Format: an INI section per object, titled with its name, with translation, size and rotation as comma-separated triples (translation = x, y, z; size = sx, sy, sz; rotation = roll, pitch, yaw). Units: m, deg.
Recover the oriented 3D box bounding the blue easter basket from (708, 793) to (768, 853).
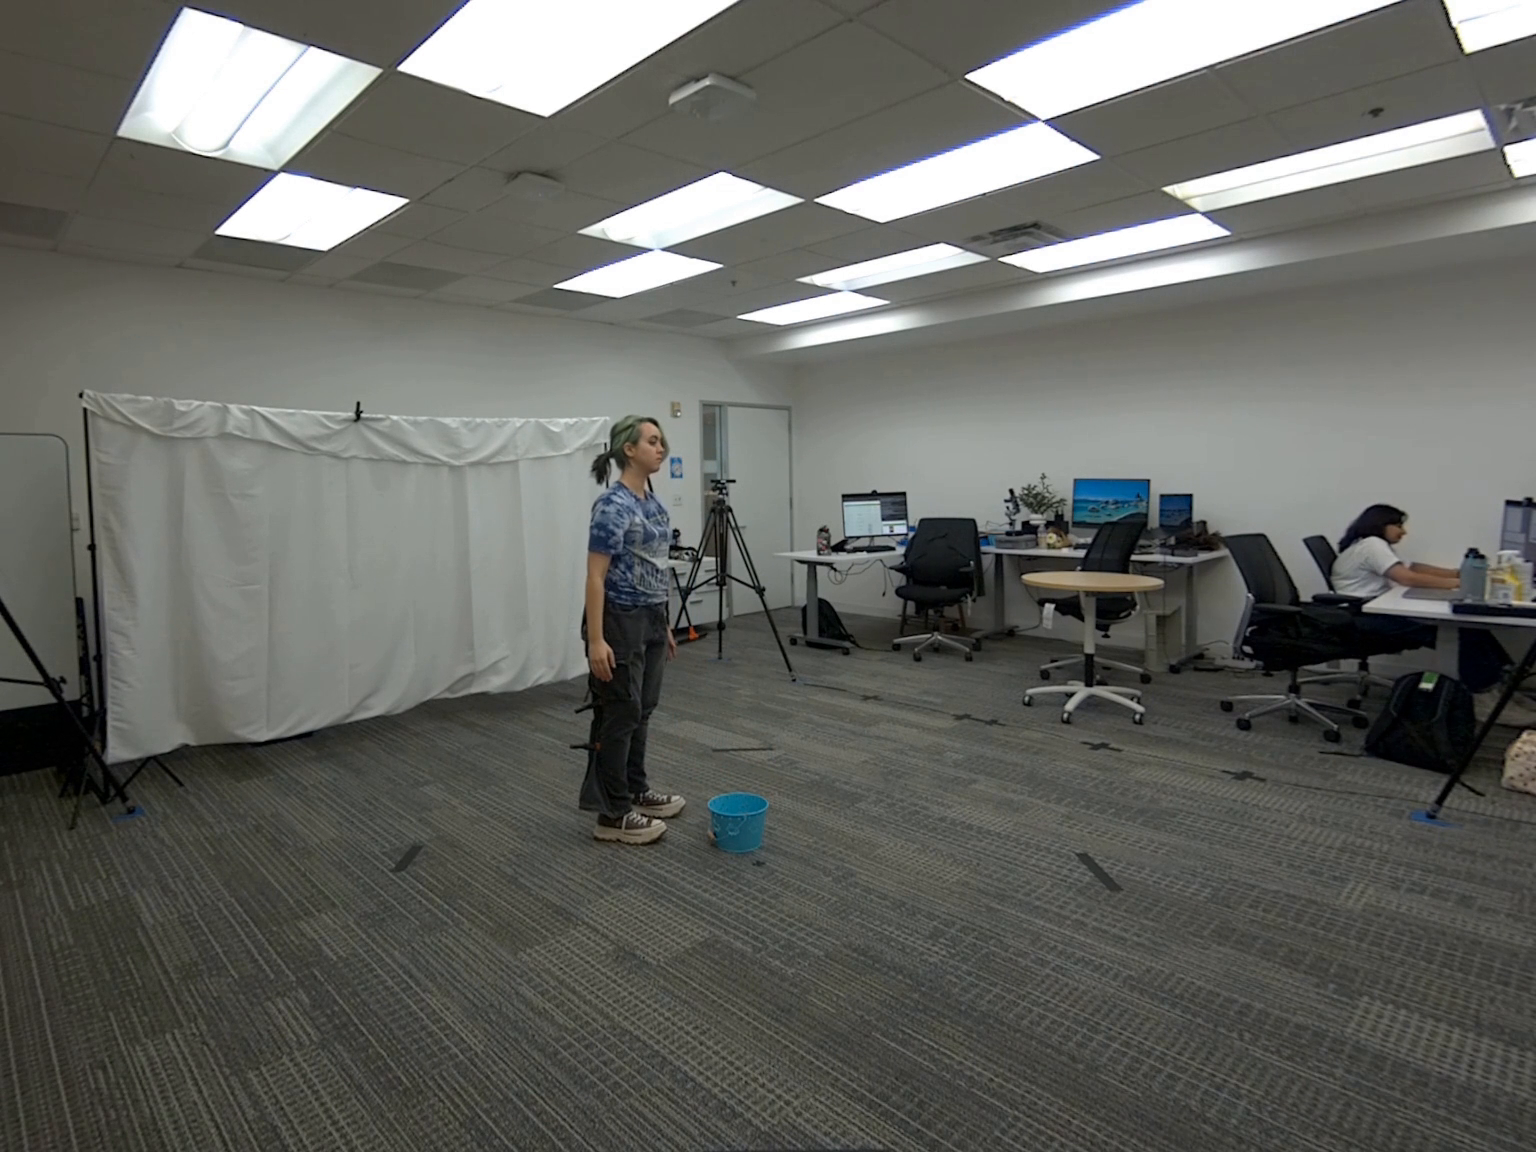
[blue easter basket]
translation = -0.117, 0.948, 3.290
size = 0.243, 0.155, 0.245
rotation = -2, 6, -2
